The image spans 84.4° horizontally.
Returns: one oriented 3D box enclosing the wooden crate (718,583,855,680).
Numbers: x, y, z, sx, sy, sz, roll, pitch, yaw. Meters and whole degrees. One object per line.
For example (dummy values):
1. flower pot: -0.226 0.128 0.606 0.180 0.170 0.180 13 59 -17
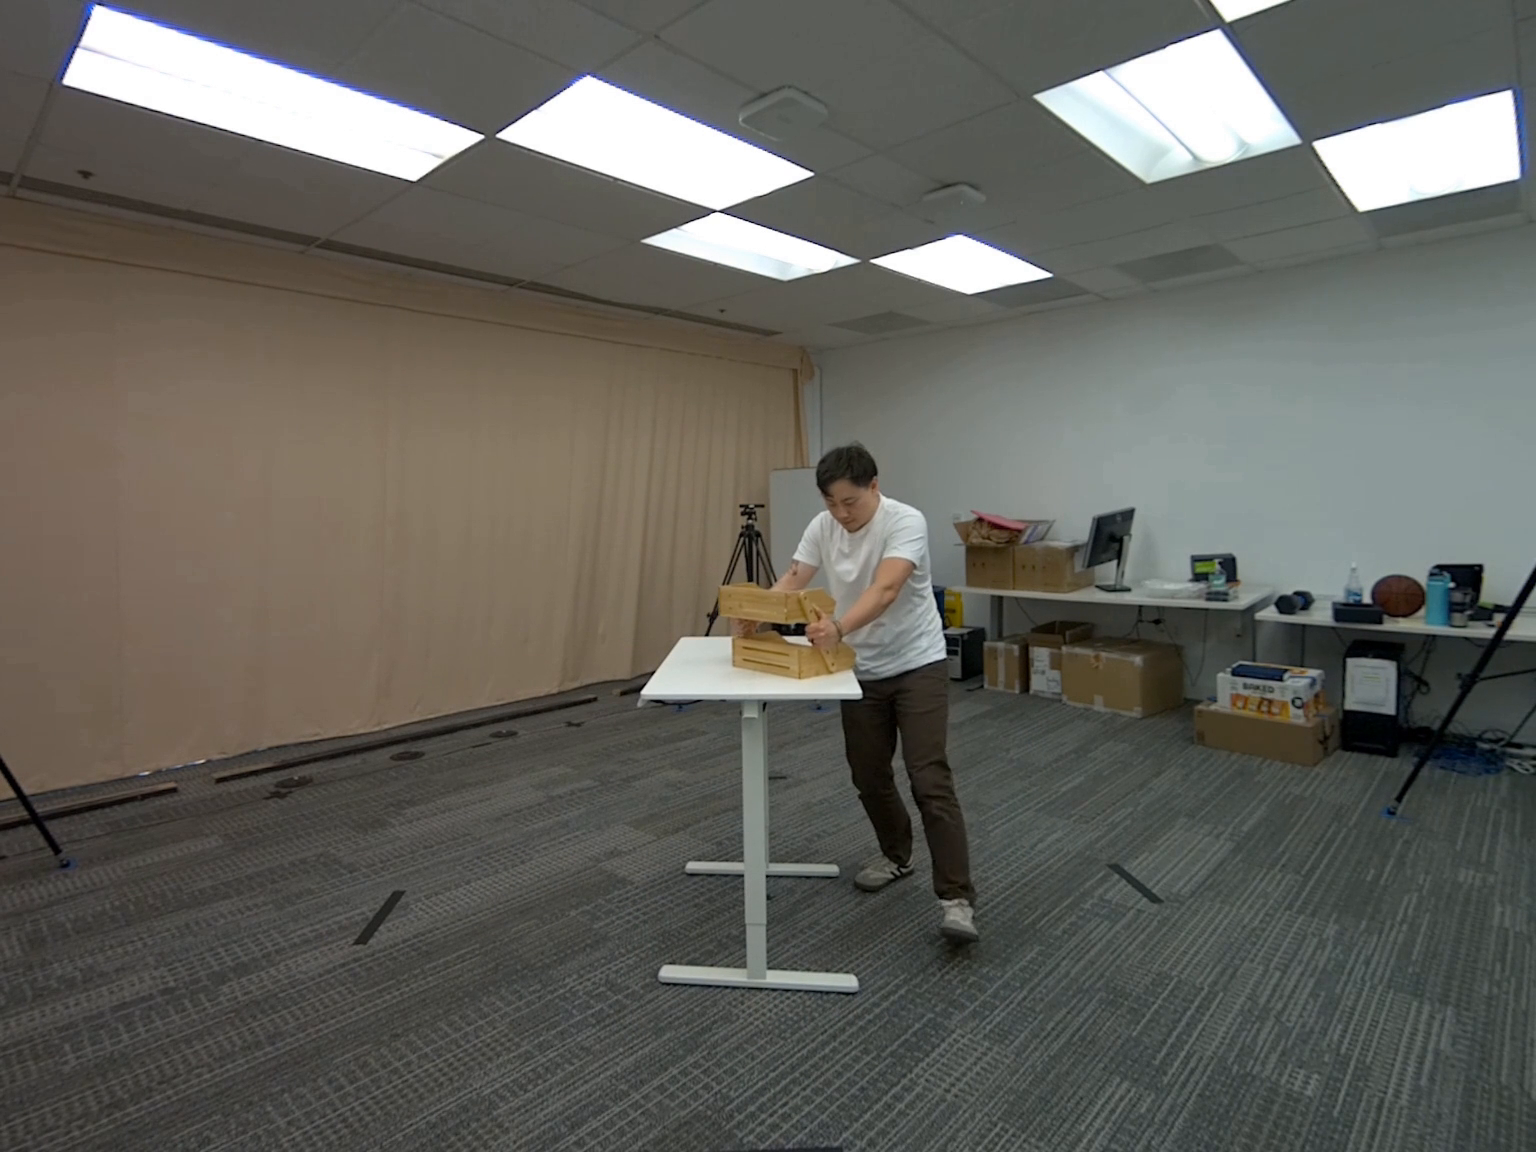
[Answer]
1. wooden crate: 0.062 0.156 2.611 0.293 0.272 0.335 -5 5 -42
